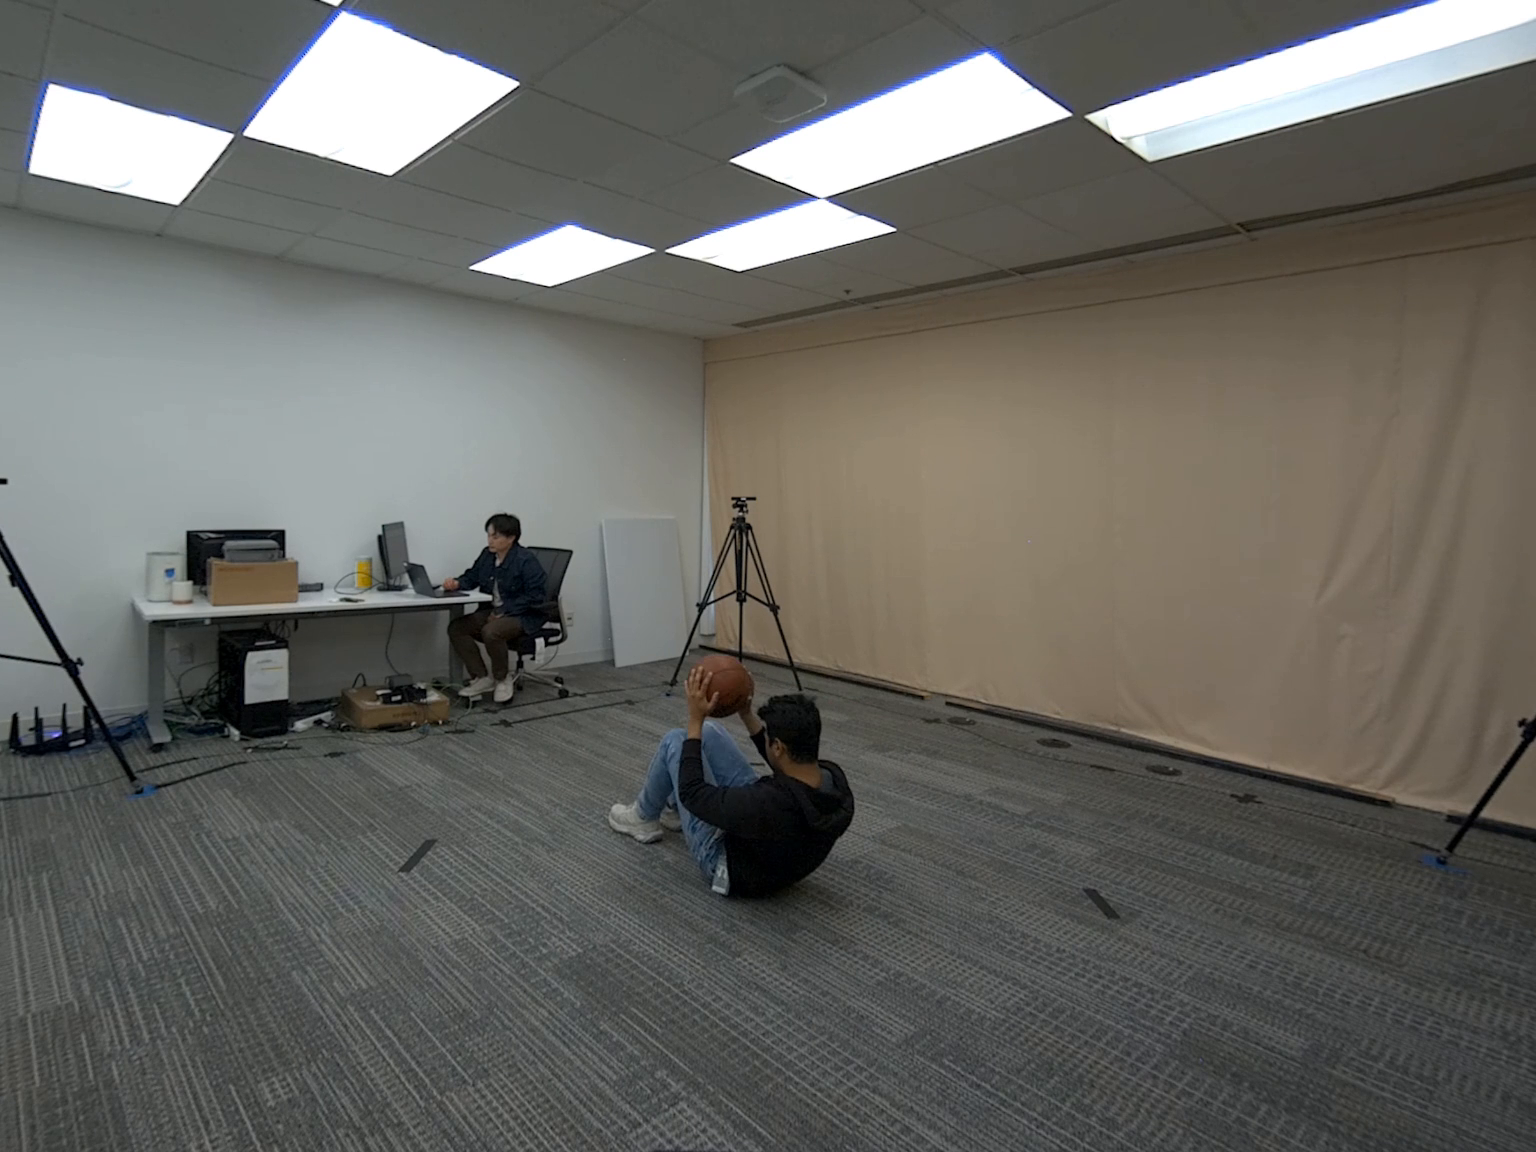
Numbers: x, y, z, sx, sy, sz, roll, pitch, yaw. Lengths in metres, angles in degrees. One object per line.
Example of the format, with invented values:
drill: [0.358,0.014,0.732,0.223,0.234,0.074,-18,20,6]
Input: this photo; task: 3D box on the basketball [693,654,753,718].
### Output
basketball: [-0.186,0.421,3.151,0.236,0.235,0.237,1,4,-1]
